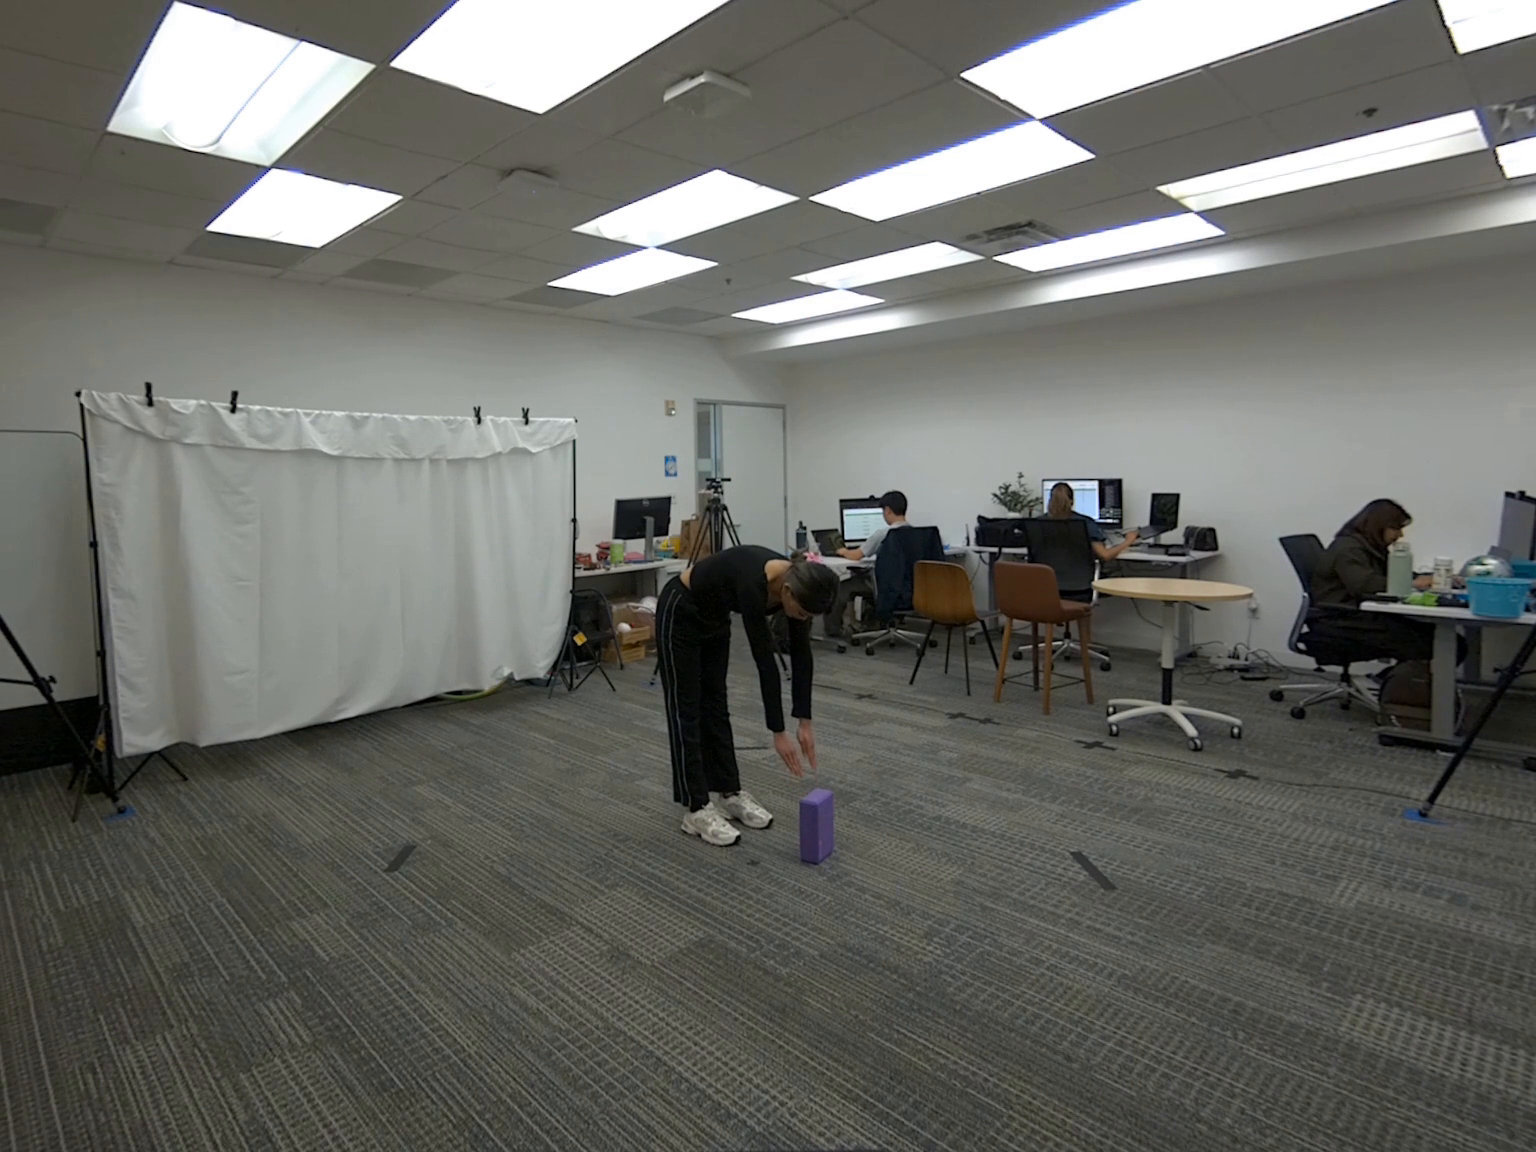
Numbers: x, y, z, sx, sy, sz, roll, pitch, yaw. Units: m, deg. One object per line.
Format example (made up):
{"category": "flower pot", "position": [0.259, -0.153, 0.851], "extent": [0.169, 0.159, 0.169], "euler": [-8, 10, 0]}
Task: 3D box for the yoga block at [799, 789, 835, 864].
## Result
{"category": "yoga block", "position": [0.183, 0.919, 3.148], "extent": [0.078, 0.229, 0.146], "euler": [1, 4, 28]}
